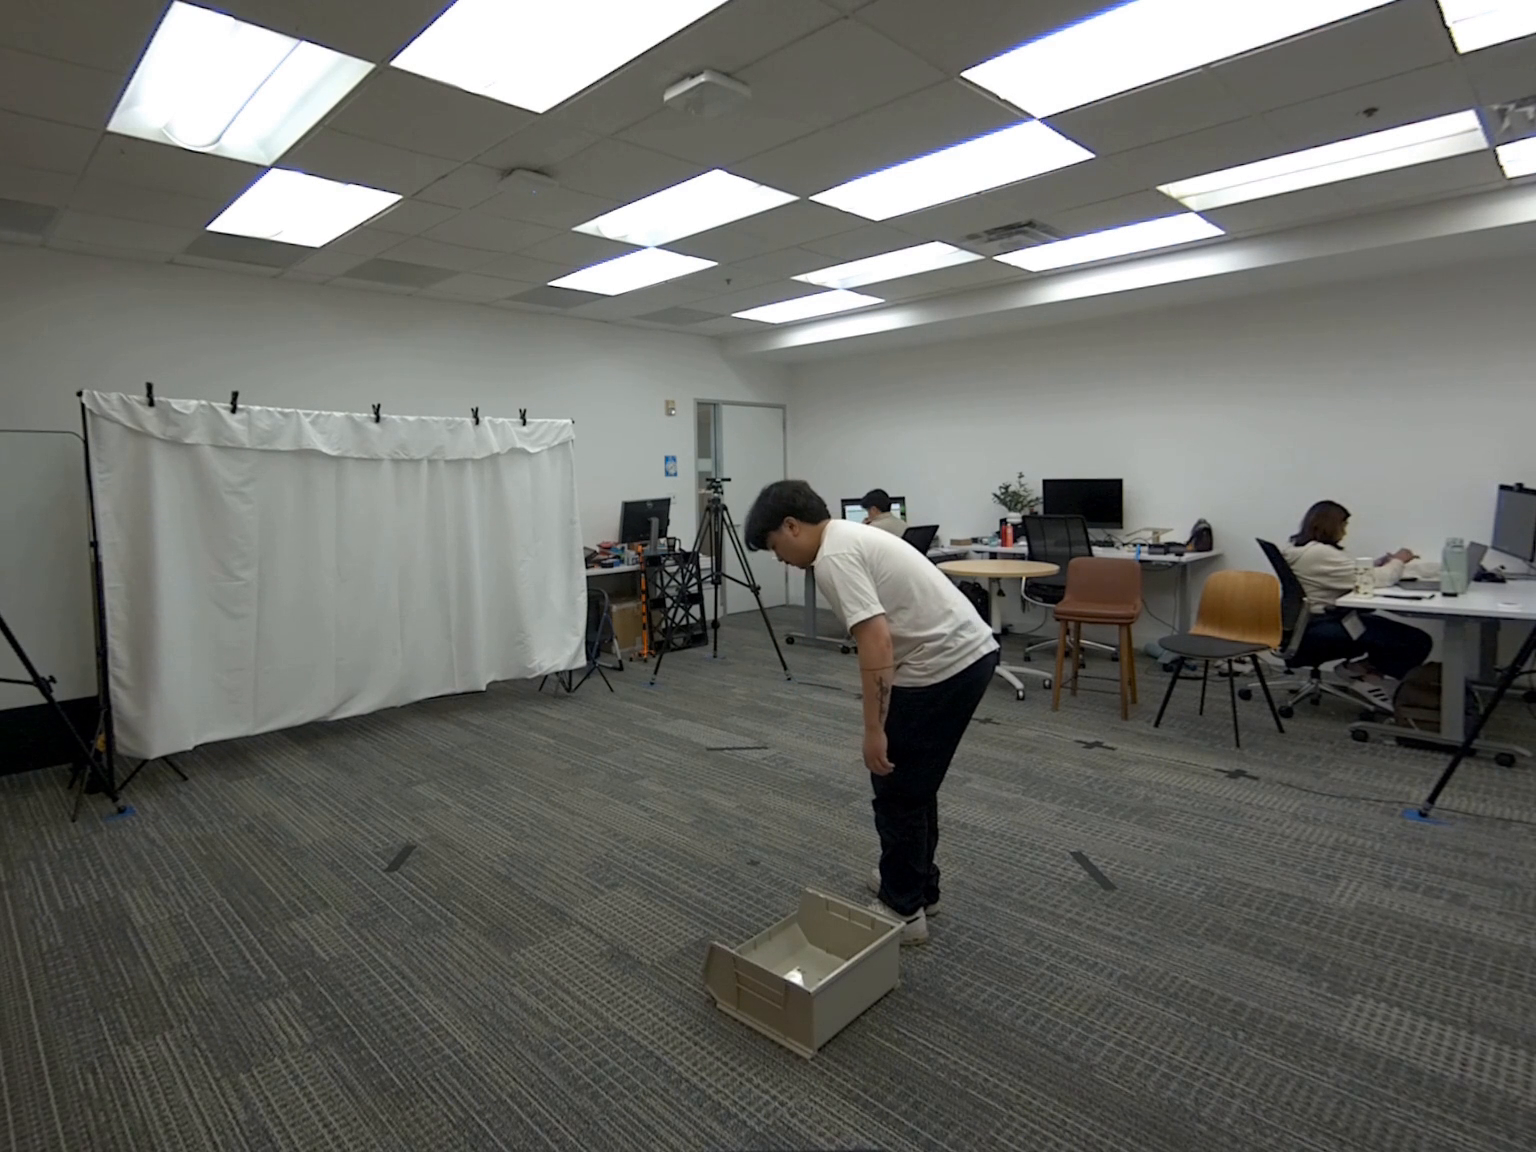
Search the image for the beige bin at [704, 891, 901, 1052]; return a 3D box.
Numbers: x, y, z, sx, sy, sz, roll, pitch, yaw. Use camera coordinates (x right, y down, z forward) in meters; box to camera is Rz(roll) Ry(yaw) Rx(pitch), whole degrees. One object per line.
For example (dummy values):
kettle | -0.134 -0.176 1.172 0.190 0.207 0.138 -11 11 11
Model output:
beige bin | 0.105 1.046 2.310 0.389 0.188 0.411 5 8 42
